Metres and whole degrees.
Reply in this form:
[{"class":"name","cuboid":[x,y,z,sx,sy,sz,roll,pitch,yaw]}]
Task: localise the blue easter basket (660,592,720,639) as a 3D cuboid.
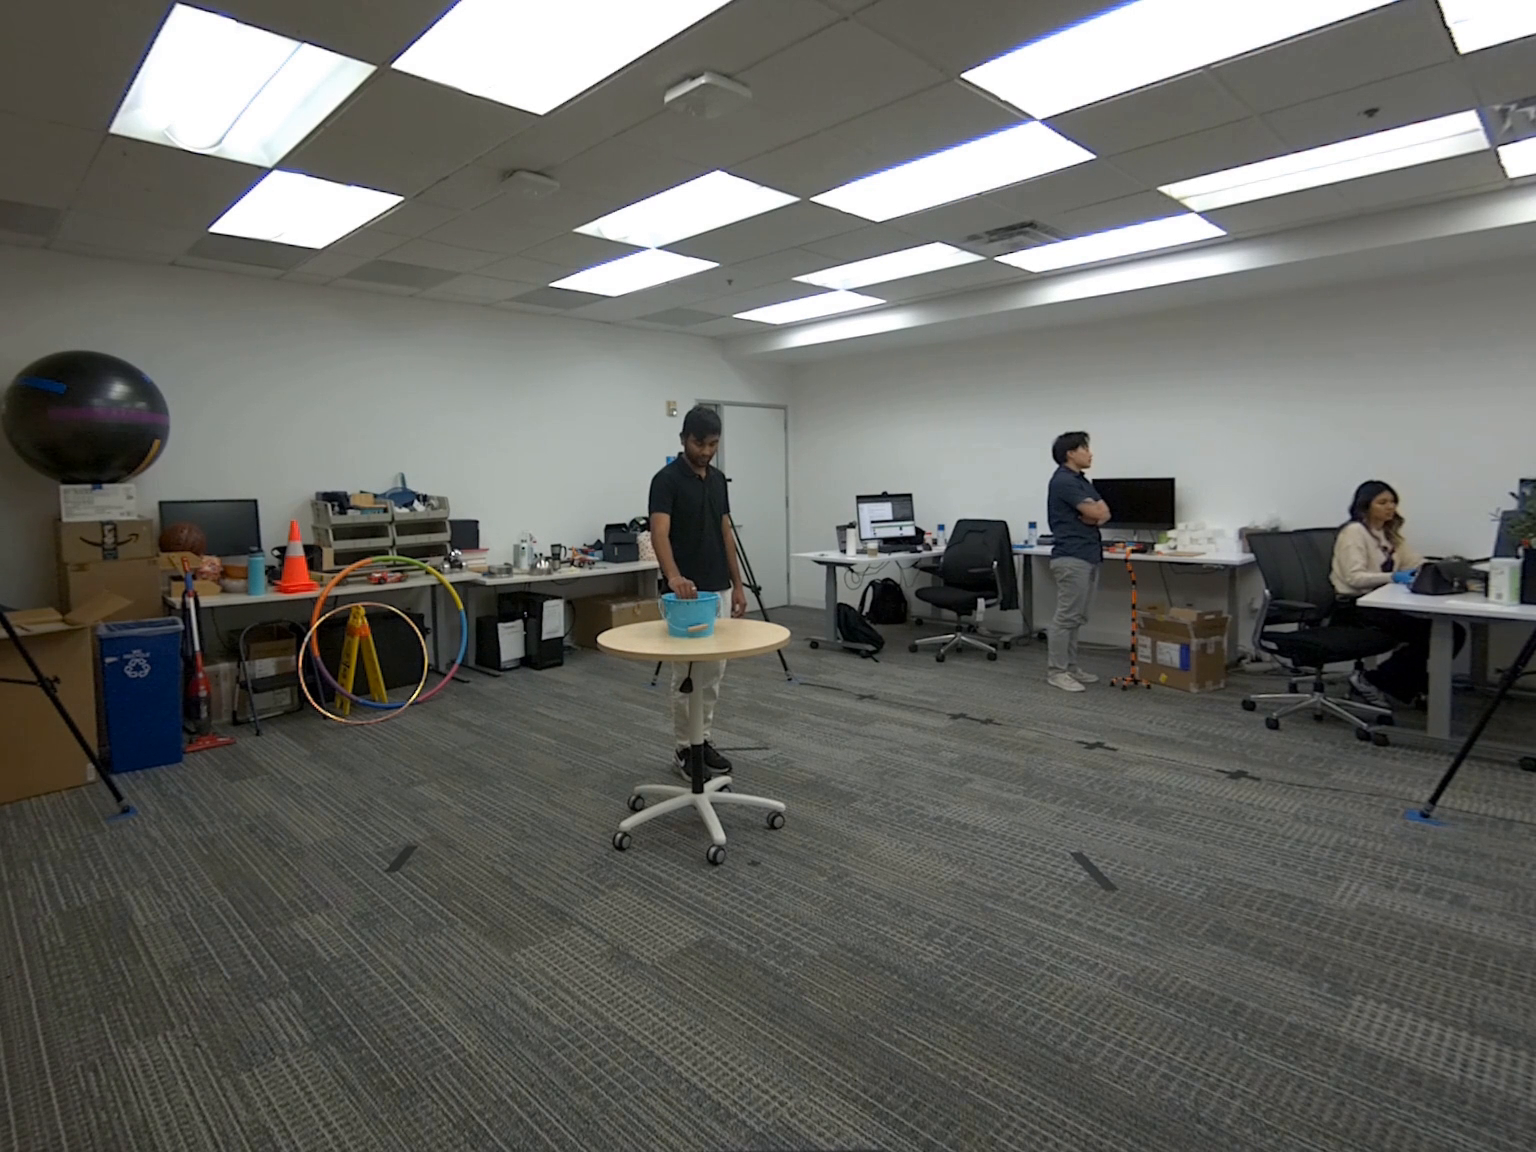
[{"class":"blue easter basket","cuboid":[-0.311,0.161,3.418,0.243,0.155,0.245,-2,5,-2]}]
